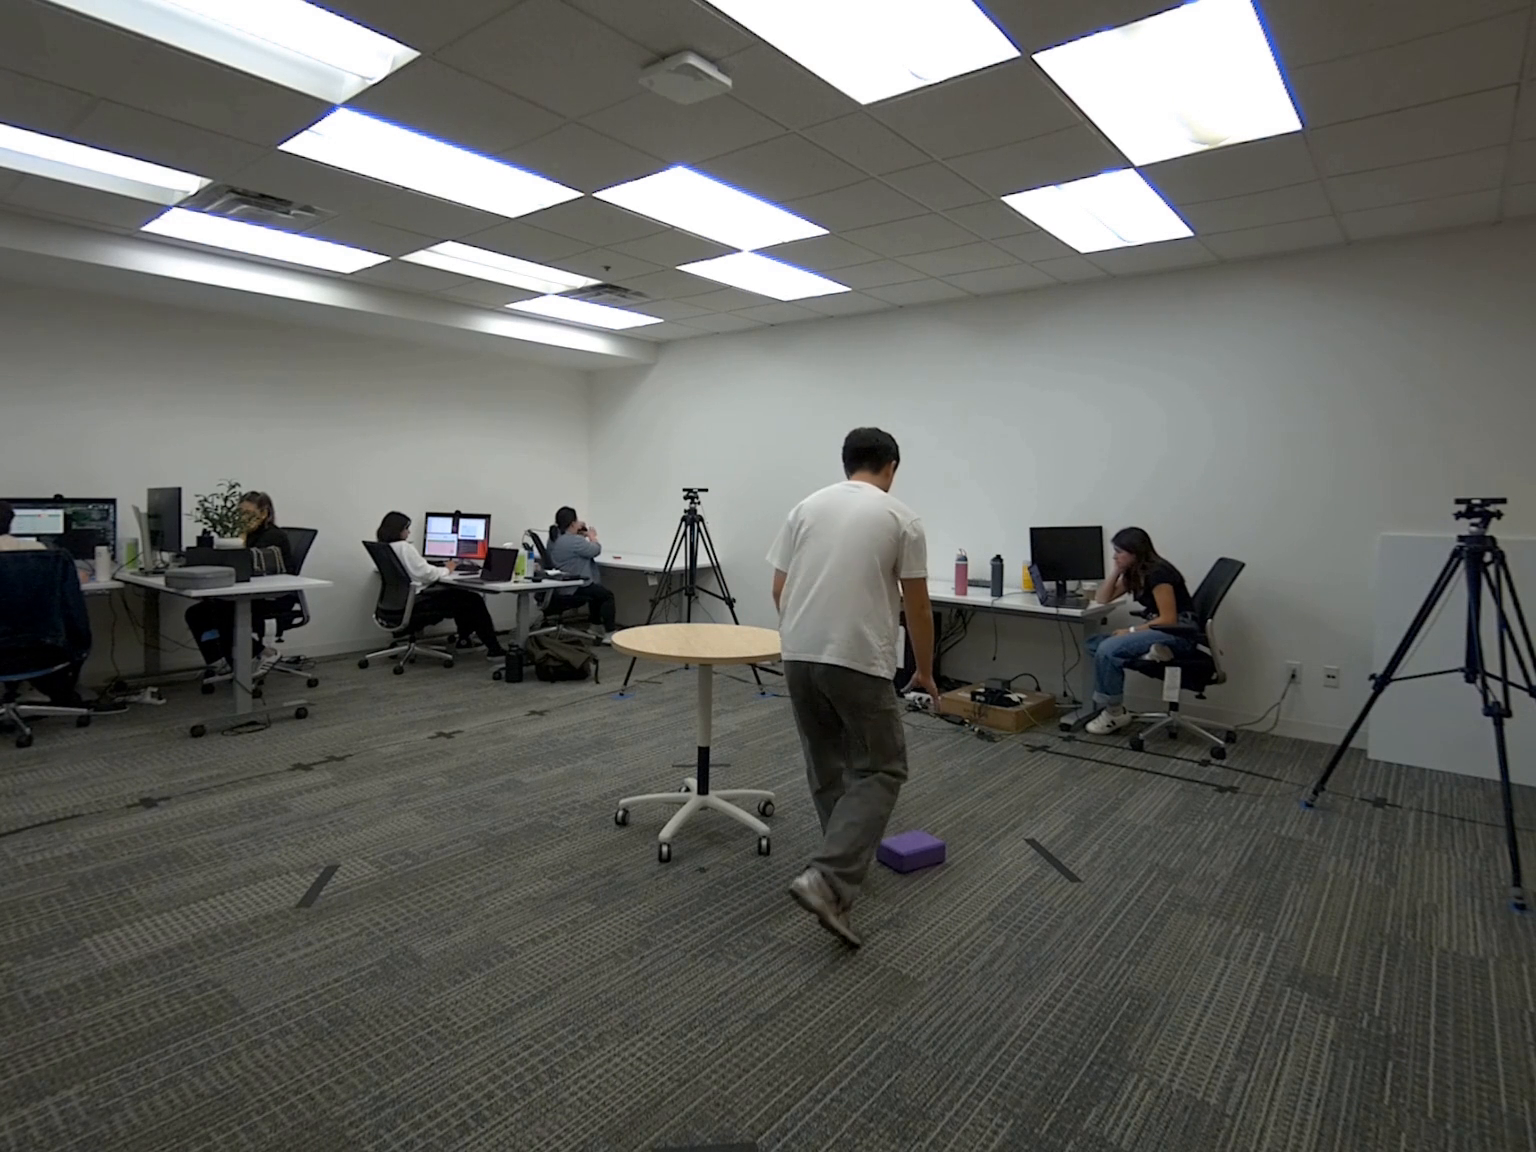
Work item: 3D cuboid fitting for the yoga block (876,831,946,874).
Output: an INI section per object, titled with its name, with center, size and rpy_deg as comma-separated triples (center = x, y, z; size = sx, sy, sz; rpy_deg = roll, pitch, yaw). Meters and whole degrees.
[yoga block]
center = 0.548, 1.031, 3.222
size = 0.223, 0.076, 0.154
rpy_deg = -2, 6, -33
